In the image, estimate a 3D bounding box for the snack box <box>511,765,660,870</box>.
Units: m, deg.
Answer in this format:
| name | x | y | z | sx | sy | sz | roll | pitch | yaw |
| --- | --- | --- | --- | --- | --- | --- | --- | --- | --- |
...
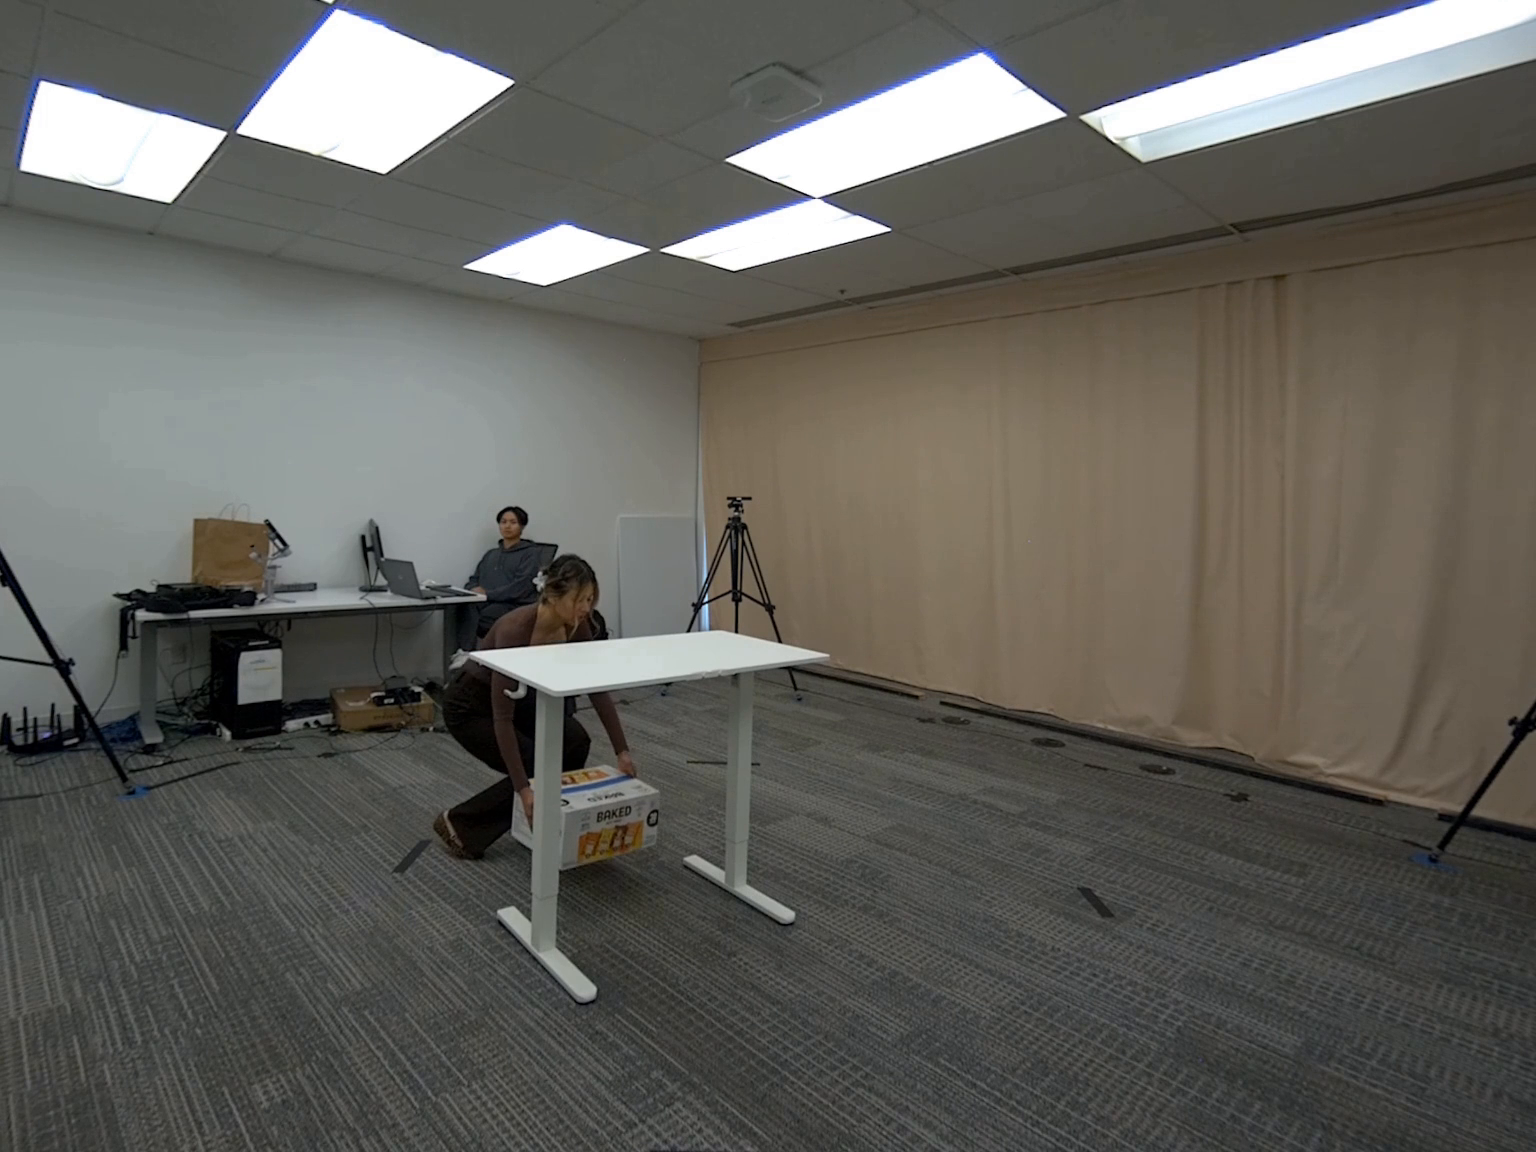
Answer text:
| name | x | y | z | sx | sy | sz | roll | pitch | yaw |
| --- | --- | --- | --- | --- | --- | --- | --- | --- | --- |
| snack box | -0.667 | 0.862 | 3.048 | 0.395 | 0.205 | 0.349 | 1 | 6 | -45 |
